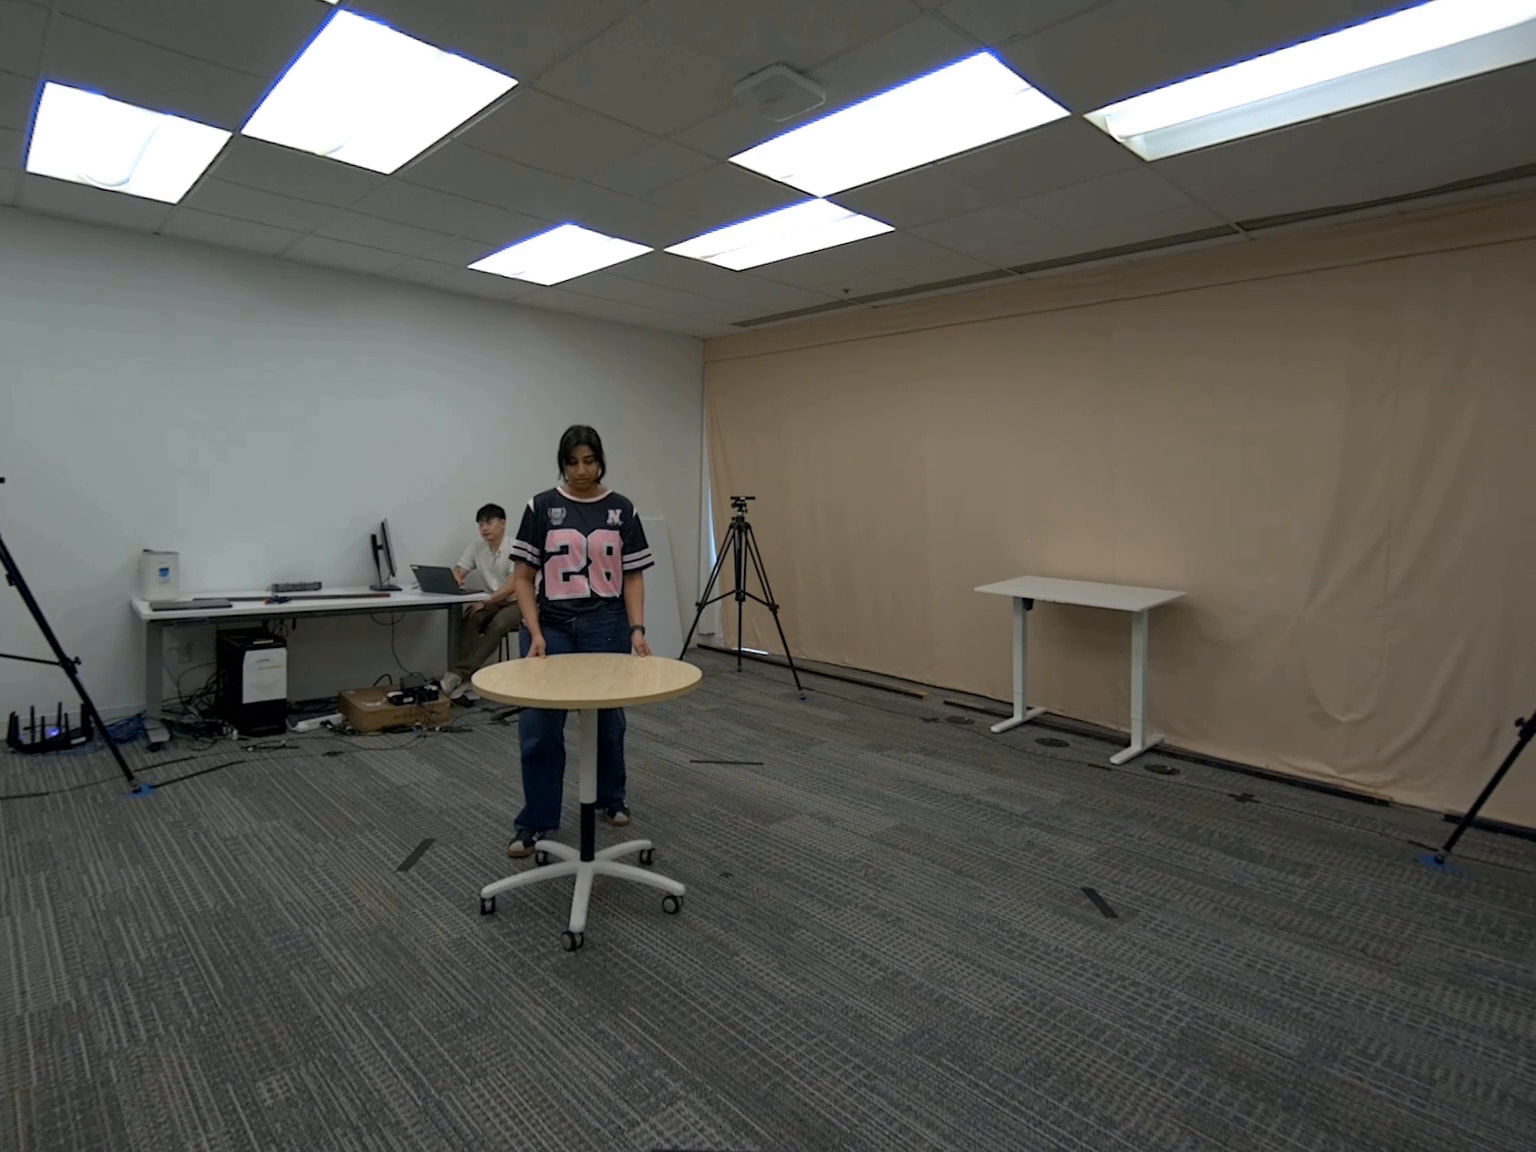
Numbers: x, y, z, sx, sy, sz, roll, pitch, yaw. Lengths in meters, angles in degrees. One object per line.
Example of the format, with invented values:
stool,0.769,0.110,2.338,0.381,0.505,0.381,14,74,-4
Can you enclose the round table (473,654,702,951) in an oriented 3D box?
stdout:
round table,-0.605,0.722,2.870,0.784,0.784,0.788,1,4,-1
